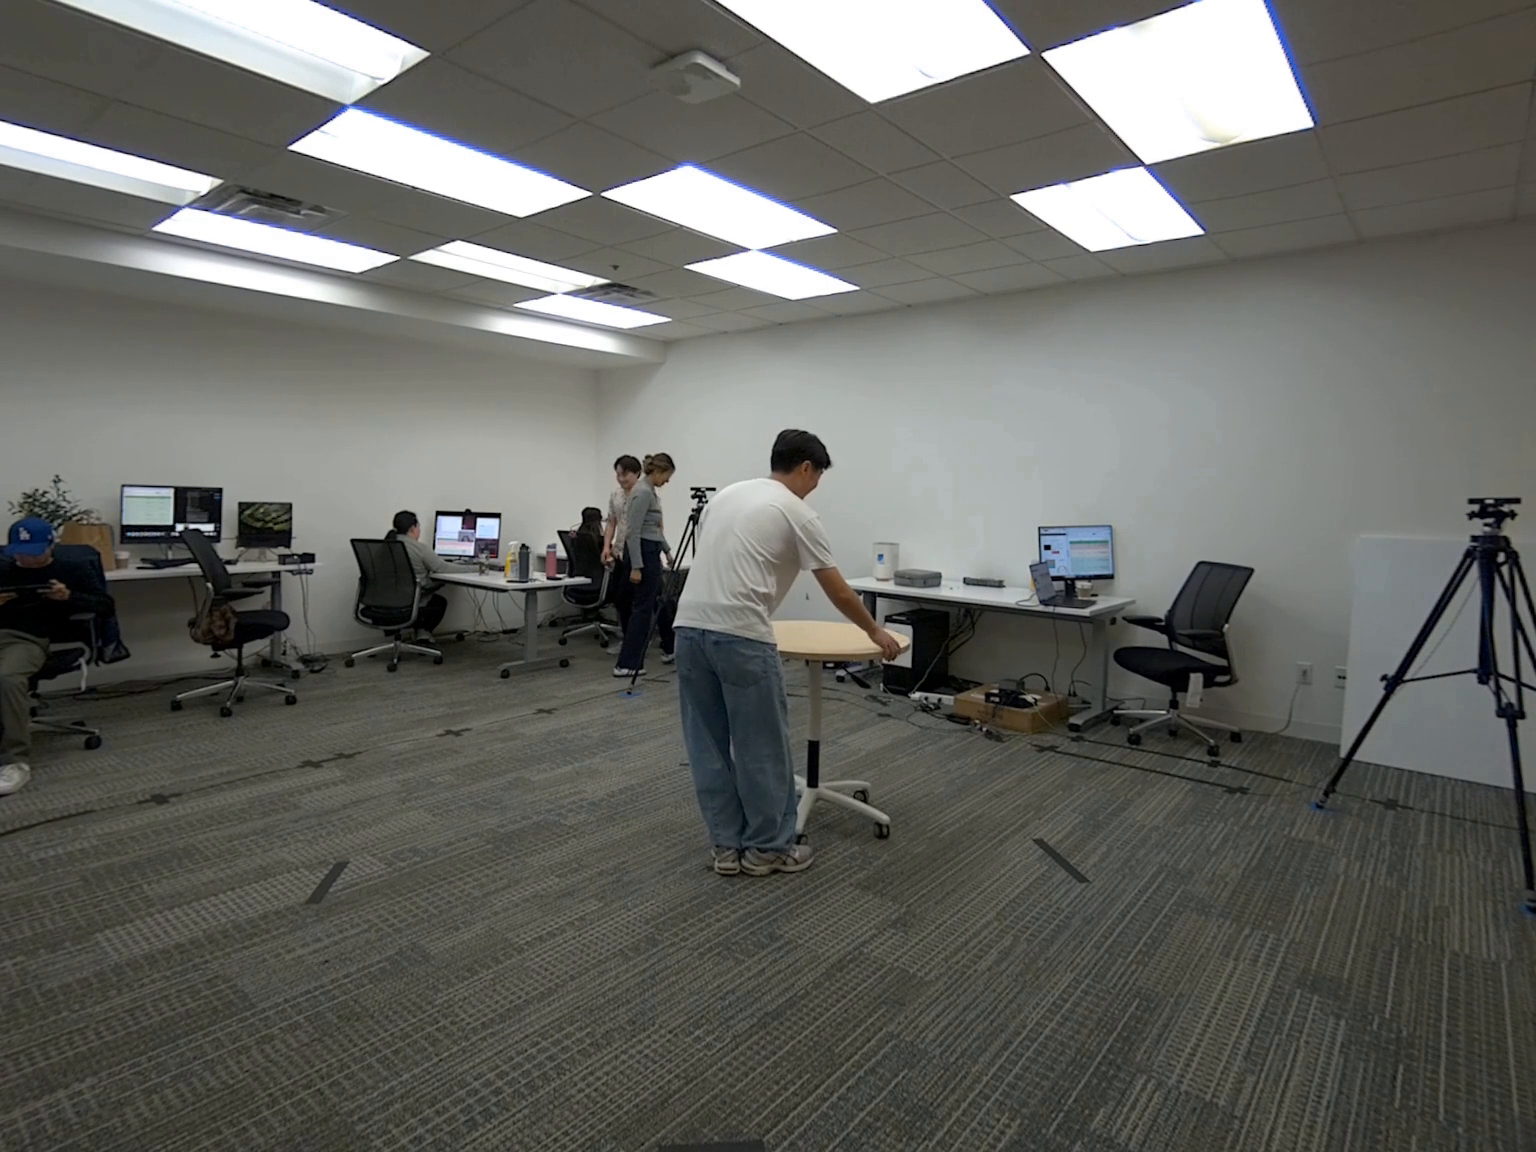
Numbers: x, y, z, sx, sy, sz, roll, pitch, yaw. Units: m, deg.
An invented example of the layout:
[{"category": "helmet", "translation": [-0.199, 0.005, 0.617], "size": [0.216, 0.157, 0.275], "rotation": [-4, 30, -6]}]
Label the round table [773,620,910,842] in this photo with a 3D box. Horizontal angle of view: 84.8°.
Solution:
[{"category": "round table", "translation": [0.179, 0.636, 3.574], "size": [0.784, 0.783, 0.789], "rotation": [1, 5, -2]}]
